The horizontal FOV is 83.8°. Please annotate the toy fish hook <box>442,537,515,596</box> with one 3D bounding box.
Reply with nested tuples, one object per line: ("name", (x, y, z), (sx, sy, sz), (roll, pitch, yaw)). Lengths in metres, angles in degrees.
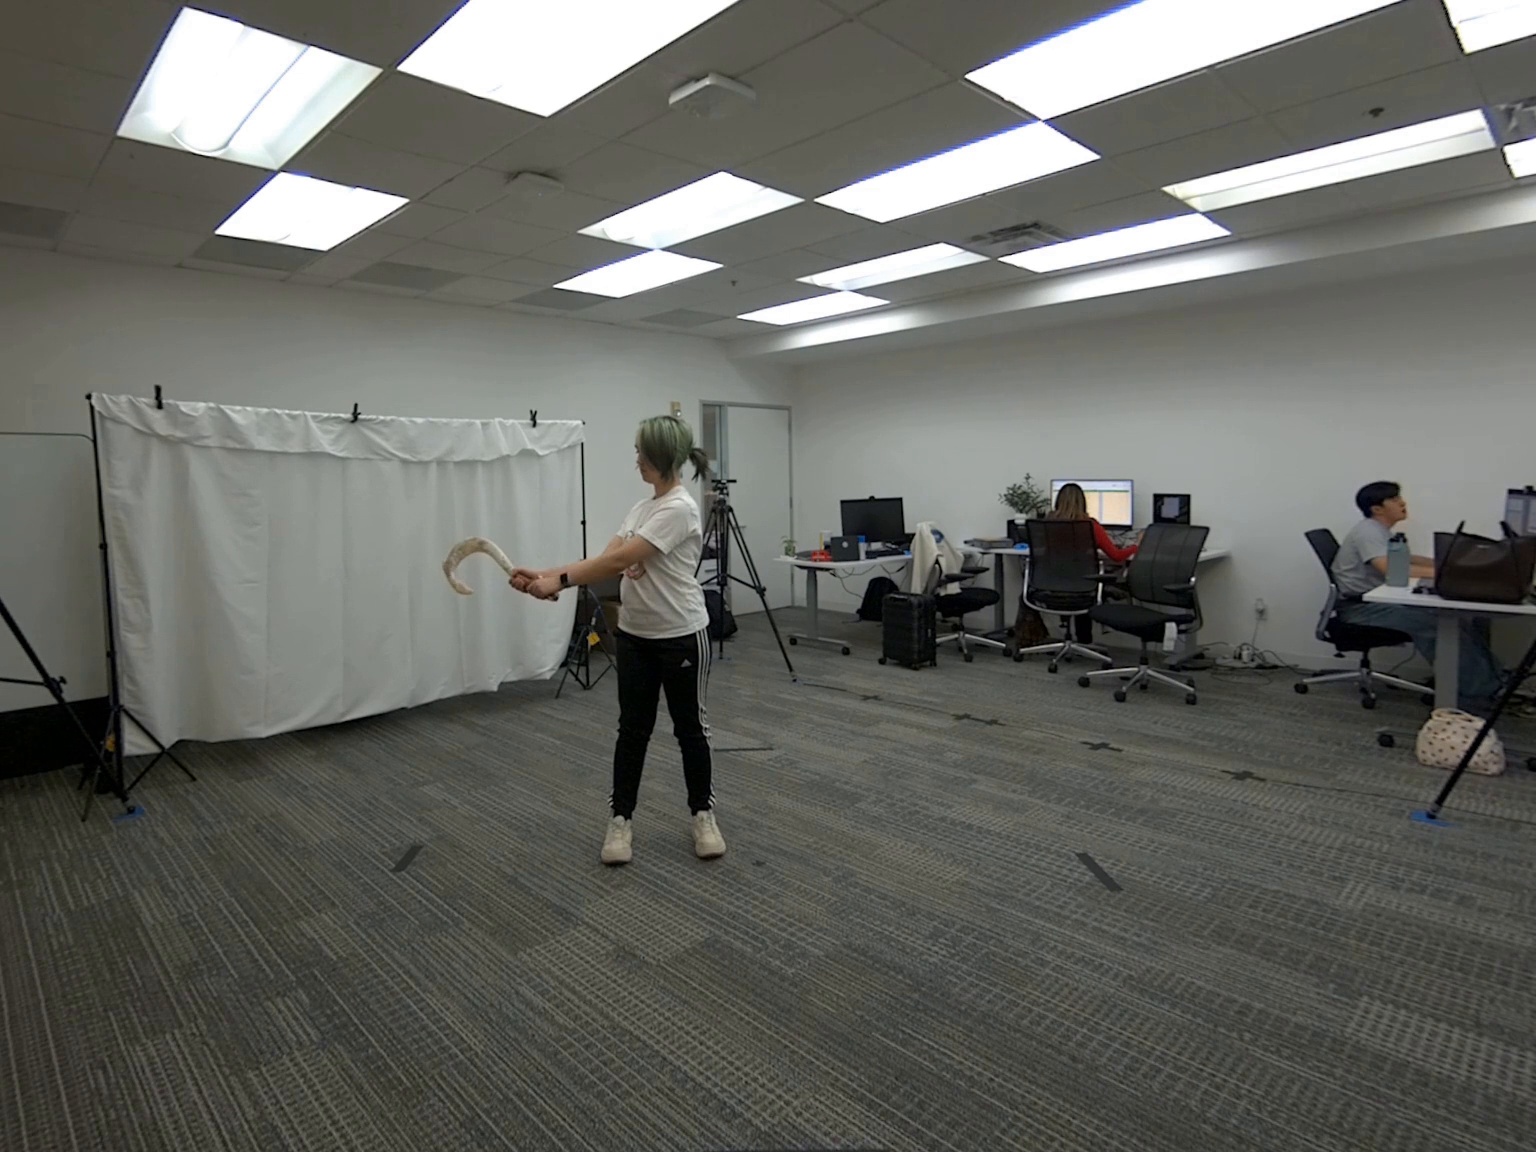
("toy fish hook", (-0.986, 0.023, 3.148), (0.521, 0.225, 0.047), (26, -11, 23))
